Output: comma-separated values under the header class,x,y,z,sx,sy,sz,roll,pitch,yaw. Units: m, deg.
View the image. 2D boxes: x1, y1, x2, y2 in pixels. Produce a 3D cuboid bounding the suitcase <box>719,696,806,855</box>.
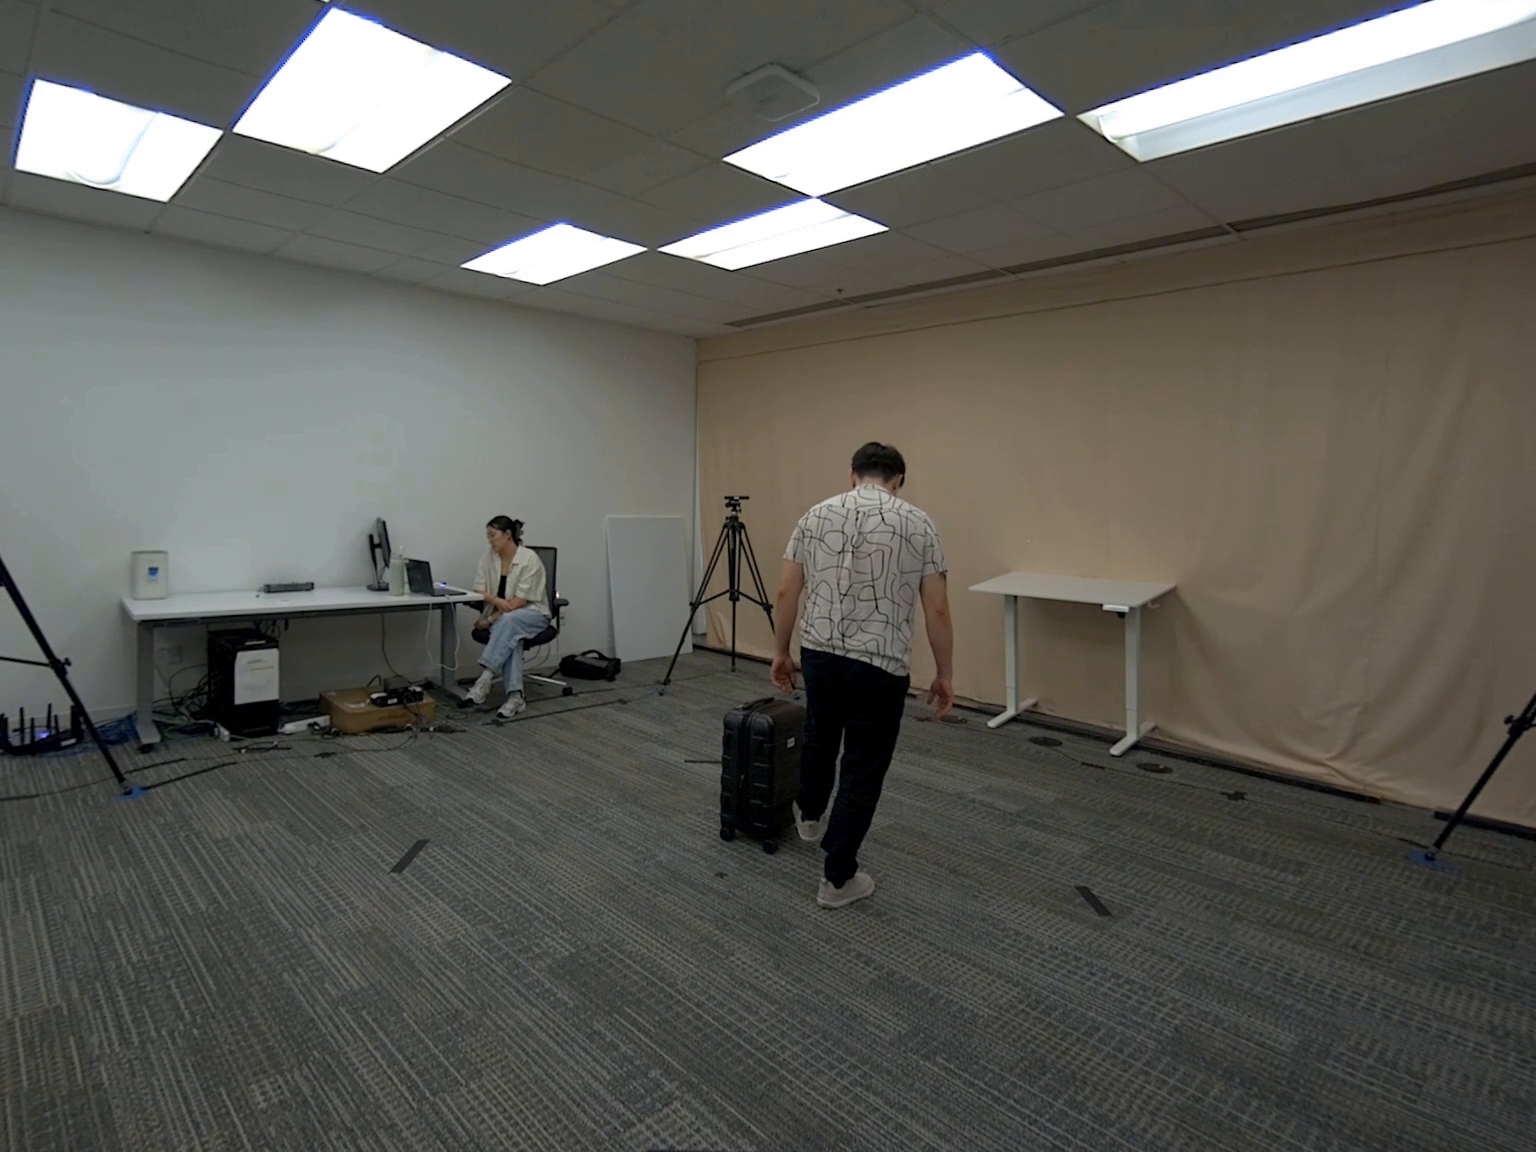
class,x,y,z,sx,sy,sz,roll,pitch,yaw
suitcase,-0.013,0.792,3.493,0.254,0.548,0.367,3,3,33
